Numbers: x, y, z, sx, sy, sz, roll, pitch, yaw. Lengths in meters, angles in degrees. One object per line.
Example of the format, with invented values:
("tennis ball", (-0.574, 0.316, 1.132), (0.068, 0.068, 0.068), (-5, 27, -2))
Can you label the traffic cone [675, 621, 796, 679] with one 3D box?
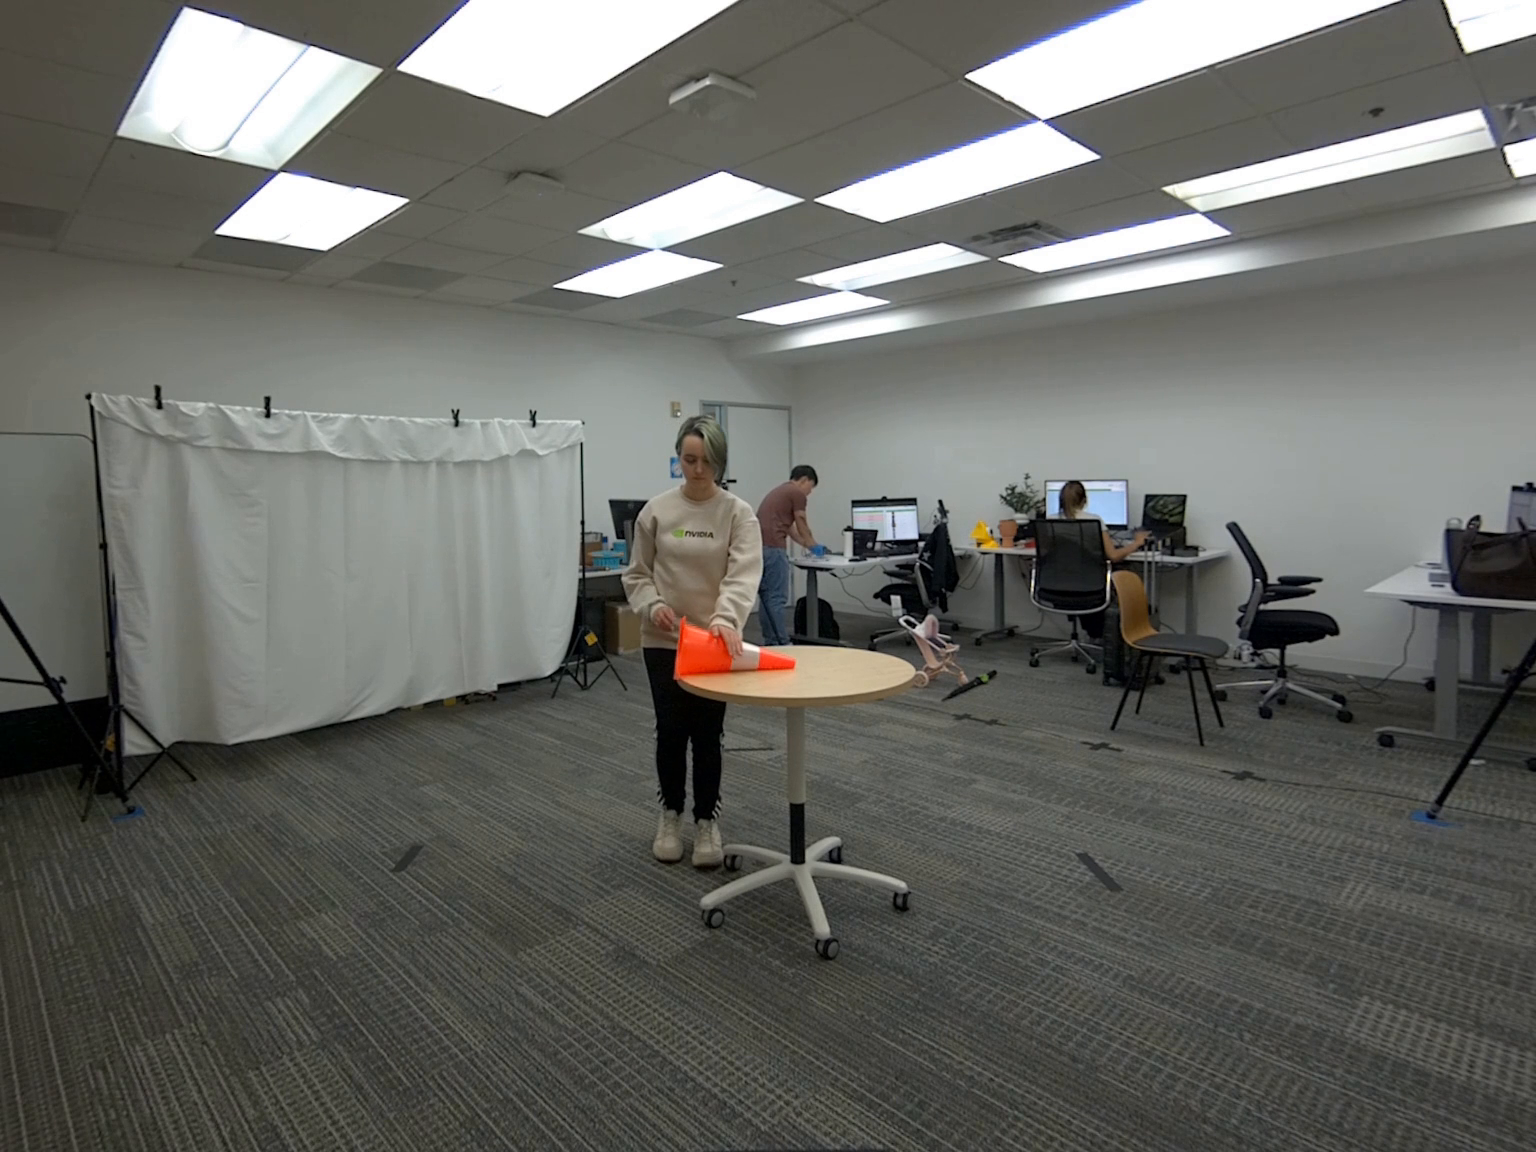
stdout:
("traffic cone", (-0.097, 0.266, 2.762), (0.381, 0.205, 0.205), (9, 0, -8))
